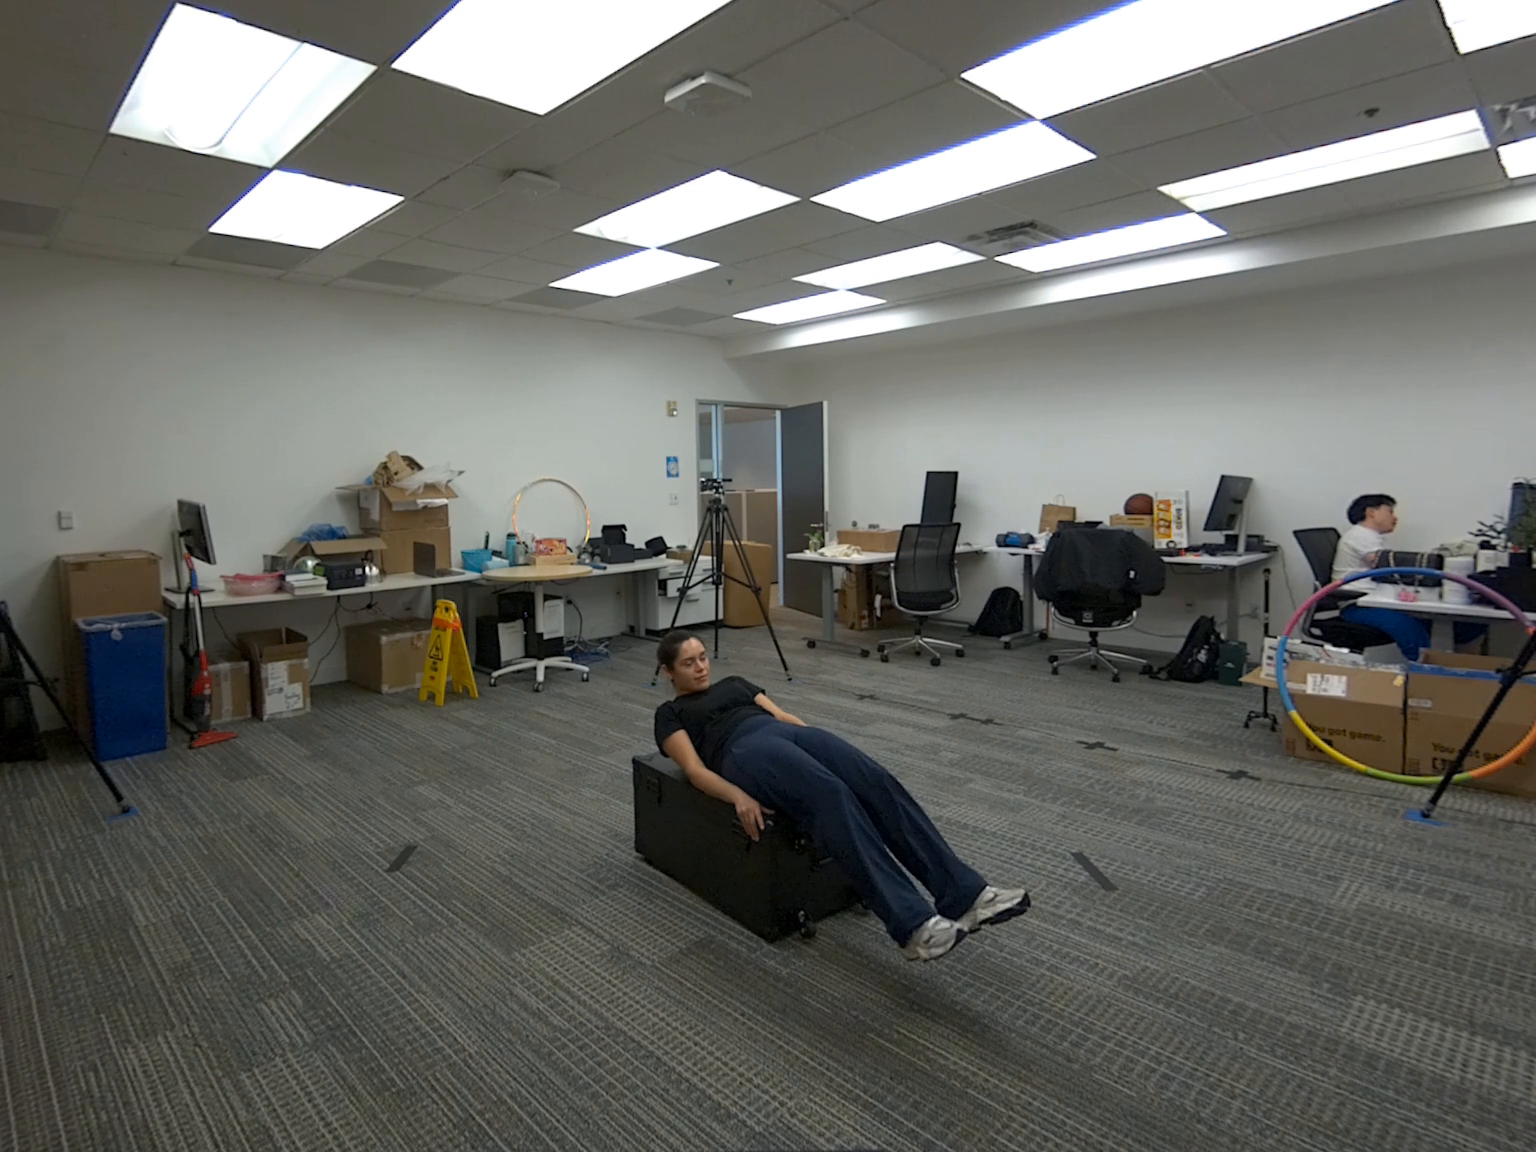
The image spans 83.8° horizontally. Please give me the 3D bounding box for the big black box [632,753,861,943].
[{"bbox_3d":[-0.081,0.866,3.036,0.508,0.394,0.889,-5,8,-39],"label":"big black box"}]
